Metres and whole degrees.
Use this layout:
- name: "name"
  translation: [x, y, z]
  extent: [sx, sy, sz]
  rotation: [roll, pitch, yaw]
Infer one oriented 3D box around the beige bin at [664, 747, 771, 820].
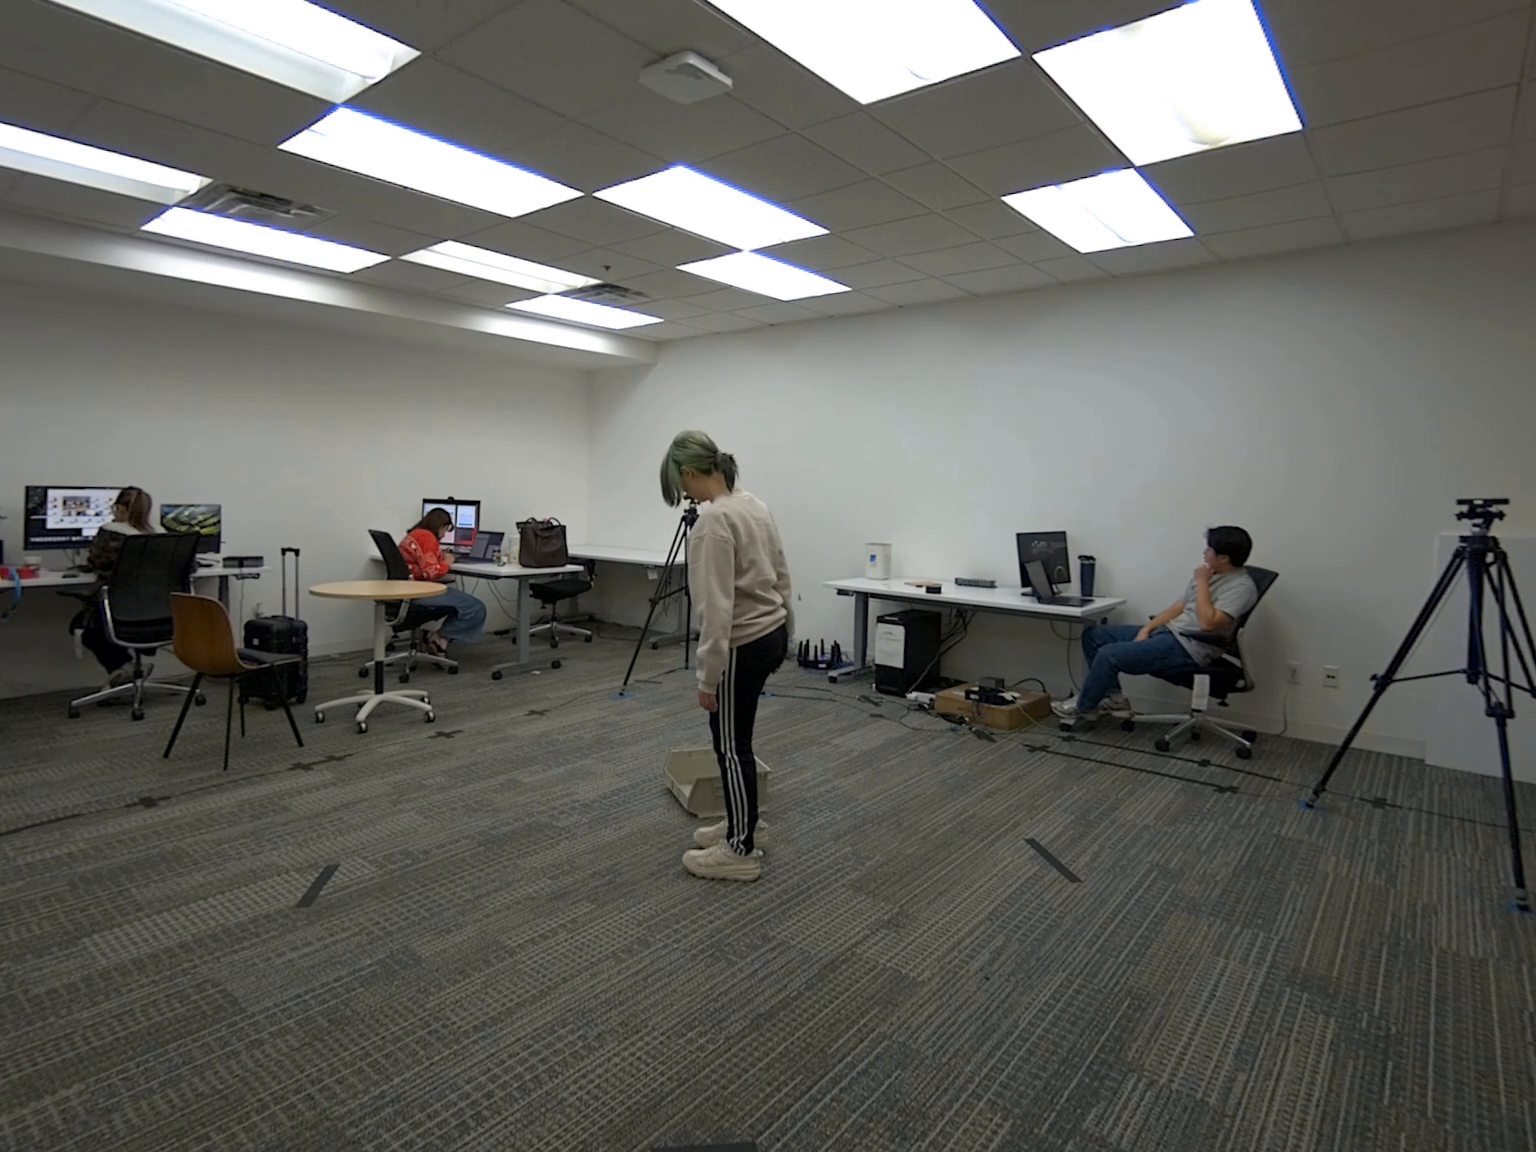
- name: "beige bin"
  translation: [-0.249, 0.906, 3.822]
  extent: [0.370, 0.188, 0.432]
  rotation: [0, 4, -21]
